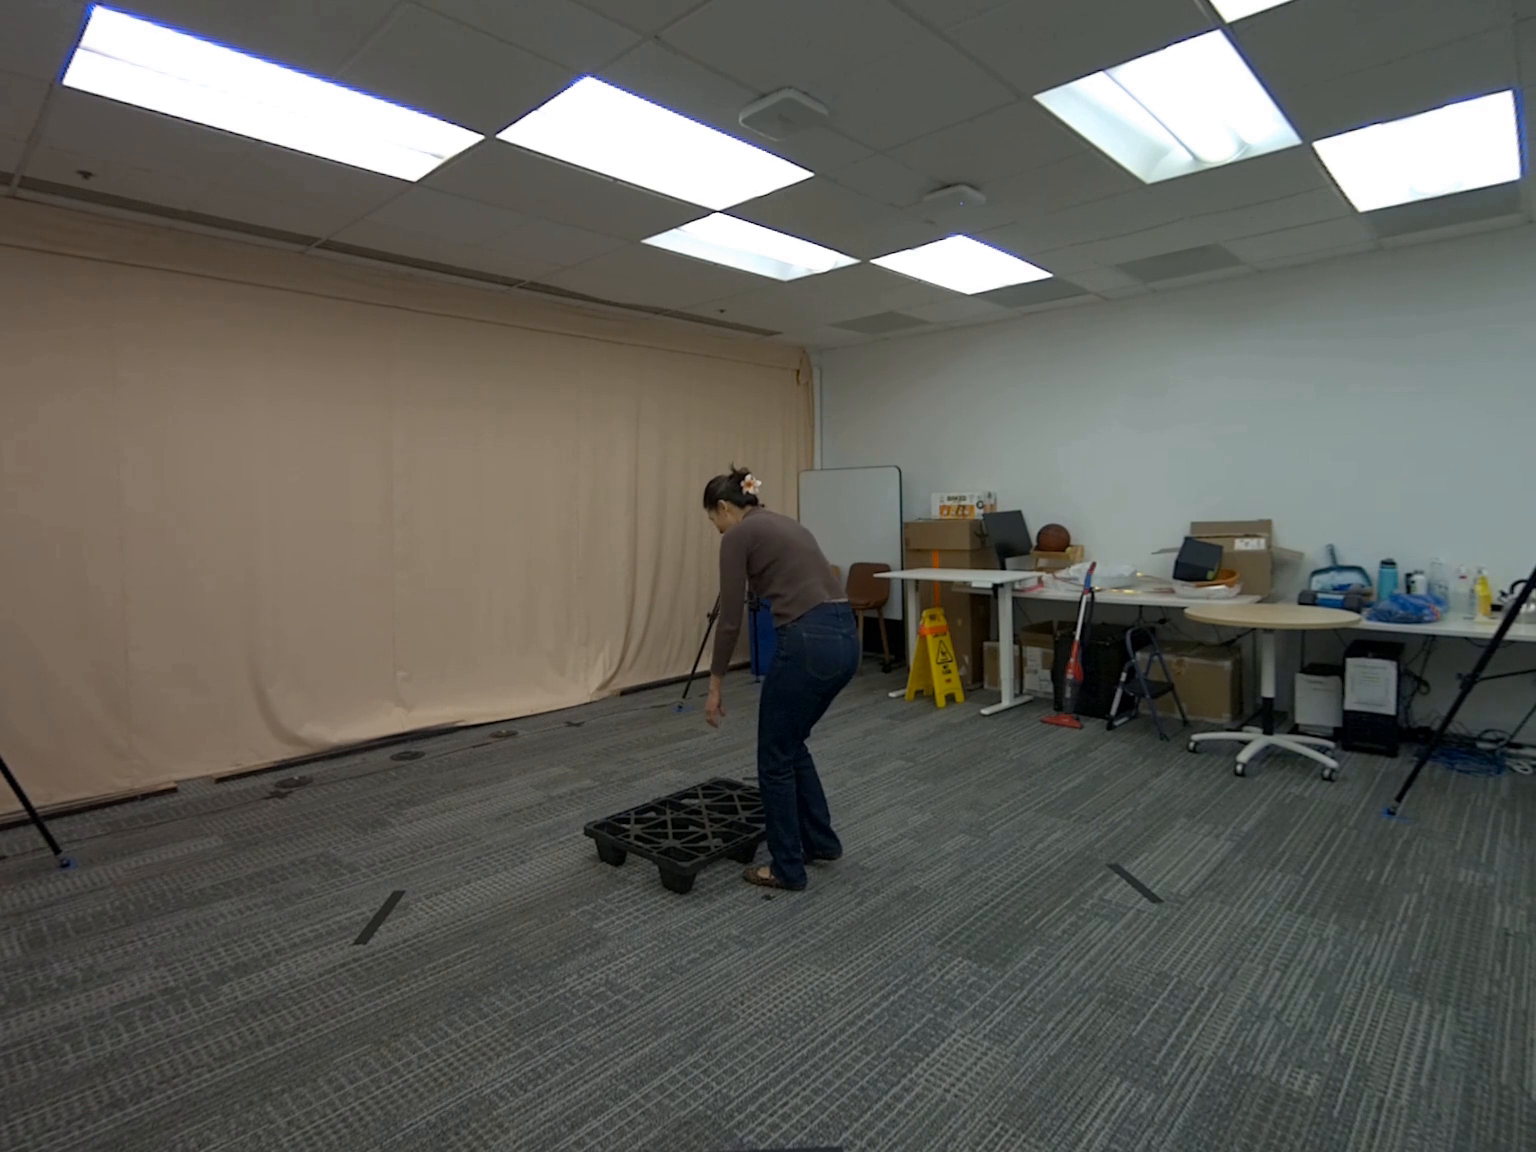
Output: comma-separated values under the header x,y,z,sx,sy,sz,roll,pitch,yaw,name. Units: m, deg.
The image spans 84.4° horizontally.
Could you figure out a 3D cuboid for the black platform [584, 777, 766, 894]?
x,y,z,sx,sy,sz,roll,pitch,yaw,name
-0.245,1.039,3.429,0.625,0.143,0.781,3,7,41,black platform
